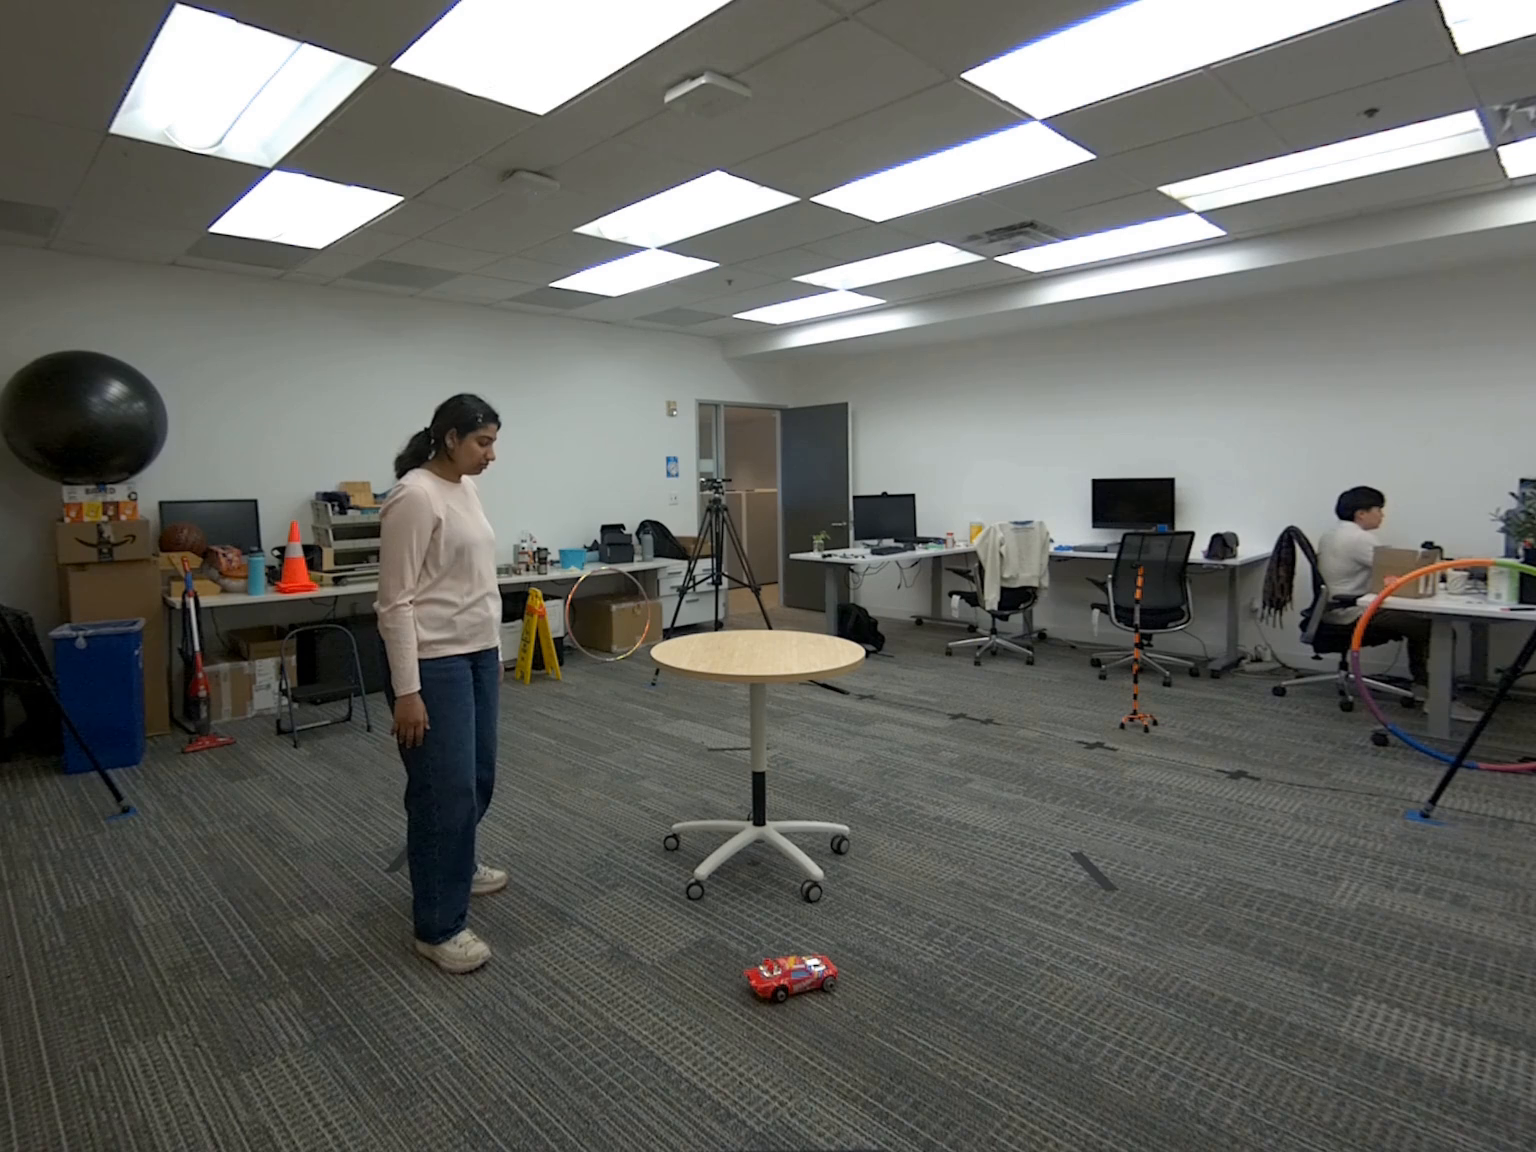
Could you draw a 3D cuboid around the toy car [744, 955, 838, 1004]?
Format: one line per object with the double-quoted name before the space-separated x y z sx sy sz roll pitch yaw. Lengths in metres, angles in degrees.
"toy car" 0.065 1.100 2.335 0.250 0.083 0.133 7 2 -19
